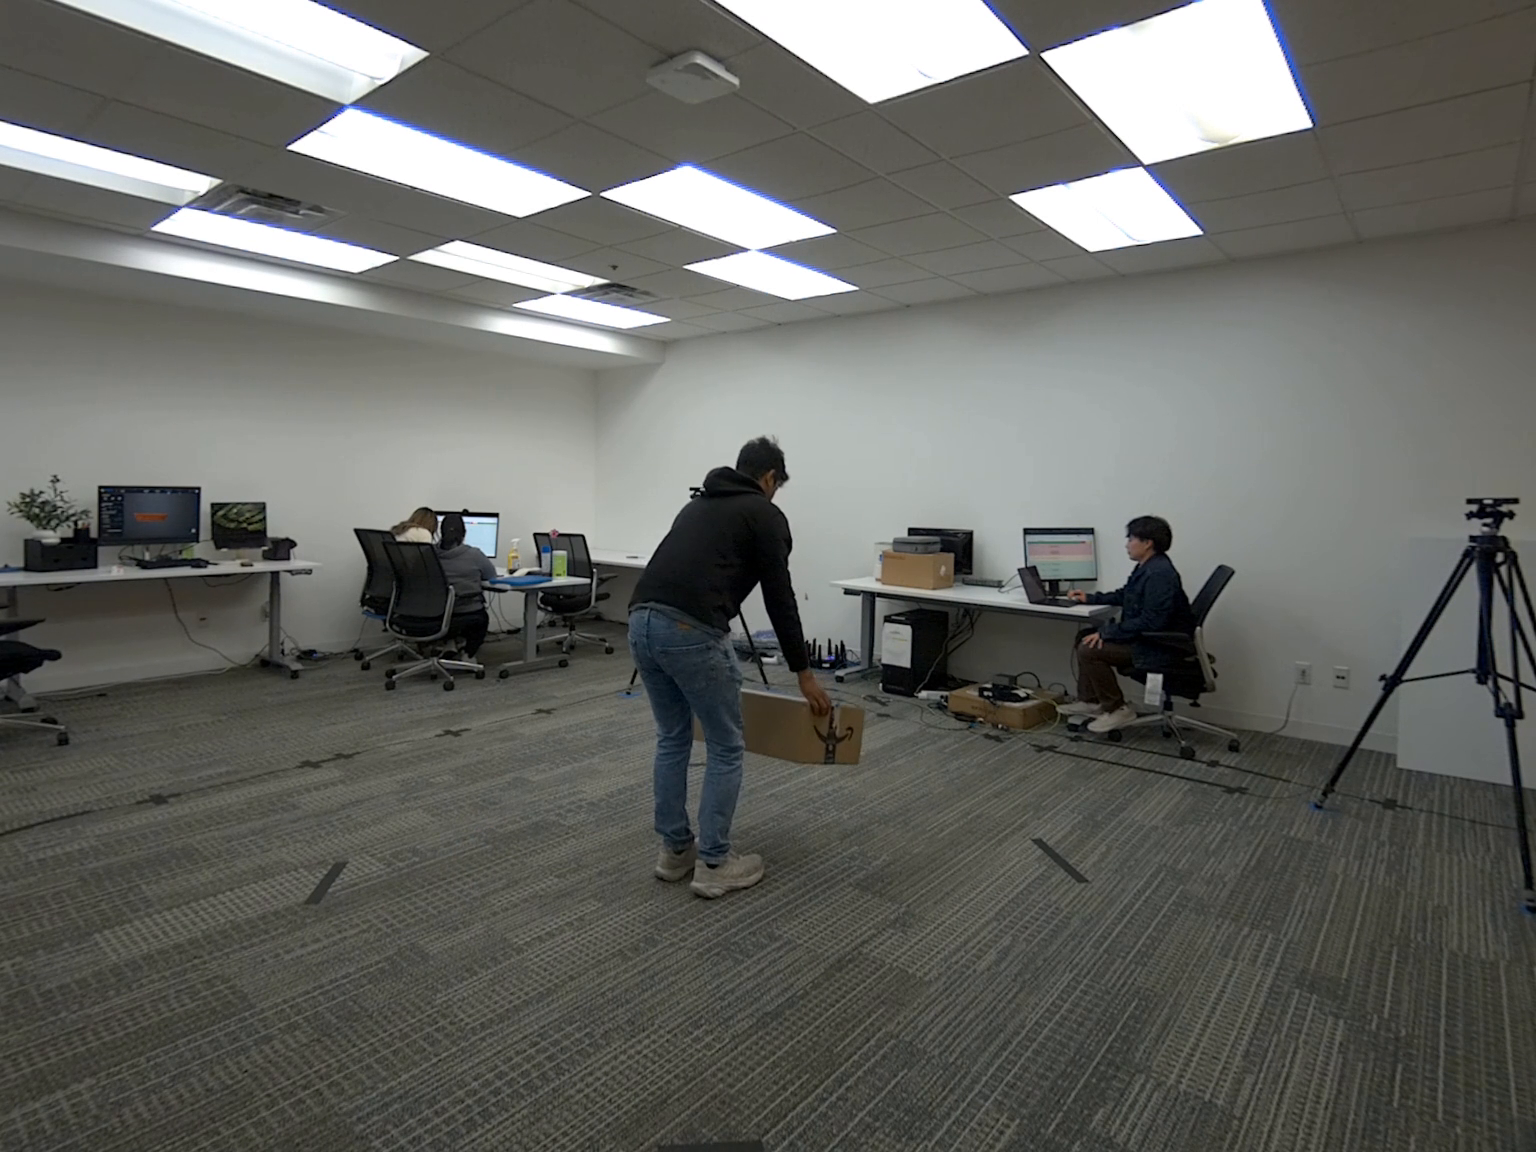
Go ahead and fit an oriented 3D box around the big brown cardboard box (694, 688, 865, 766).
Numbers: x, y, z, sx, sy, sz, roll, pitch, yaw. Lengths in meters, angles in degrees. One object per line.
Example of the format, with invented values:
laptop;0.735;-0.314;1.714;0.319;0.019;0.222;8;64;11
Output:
big brown cardboard box;0.002;0.566;3.307;0.608;0.234;0.402;4;-7;39
